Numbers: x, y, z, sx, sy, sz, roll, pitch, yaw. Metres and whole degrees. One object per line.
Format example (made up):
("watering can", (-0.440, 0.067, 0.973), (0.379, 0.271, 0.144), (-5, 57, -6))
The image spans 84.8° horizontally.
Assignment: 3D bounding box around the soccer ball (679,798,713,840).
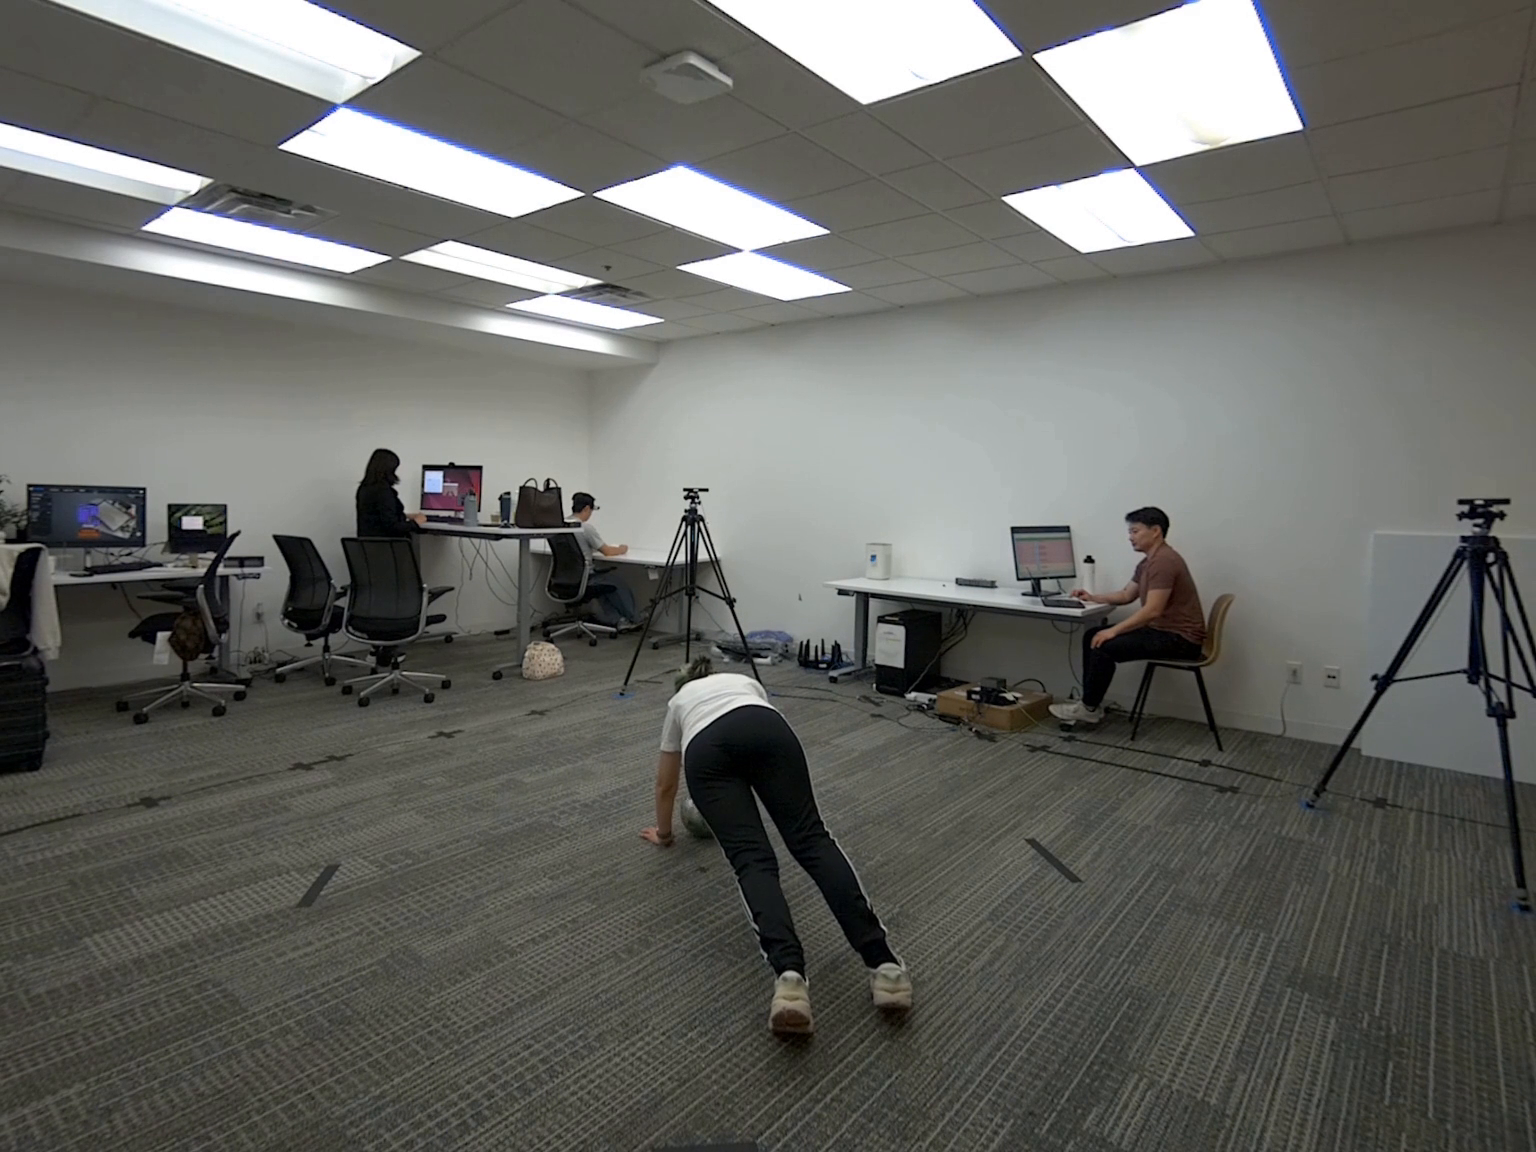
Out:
("soccer ball", (-0.265, 0.946, 3.410), (0.187, 0.187, 0.188), (1, 4, -2))
